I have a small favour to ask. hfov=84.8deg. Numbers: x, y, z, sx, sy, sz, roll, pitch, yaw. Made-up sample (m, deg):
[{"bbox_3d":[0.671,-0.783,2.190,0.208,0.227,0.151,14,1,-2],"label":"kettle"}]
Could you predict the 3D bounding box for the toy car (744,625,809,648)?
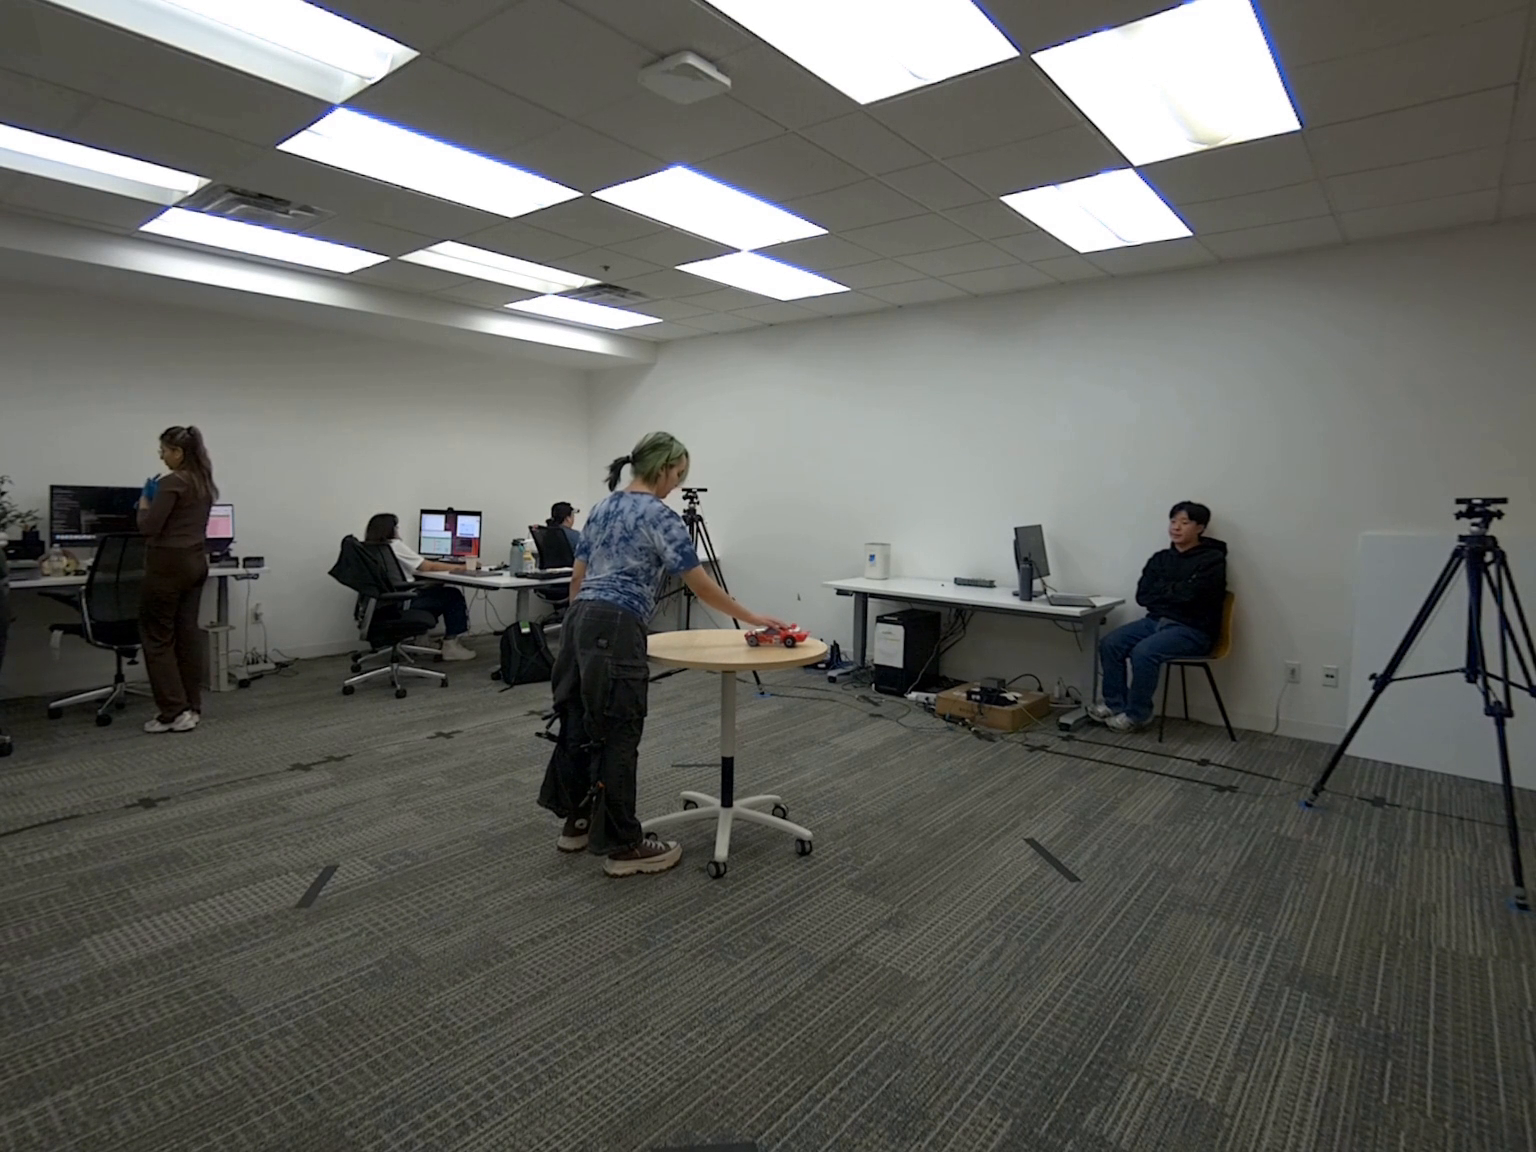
[{"bbox_3d":[0.029,0.238,3.325,0.257,0.083,0.129,-10,3,11],"label":"toy car"}]
